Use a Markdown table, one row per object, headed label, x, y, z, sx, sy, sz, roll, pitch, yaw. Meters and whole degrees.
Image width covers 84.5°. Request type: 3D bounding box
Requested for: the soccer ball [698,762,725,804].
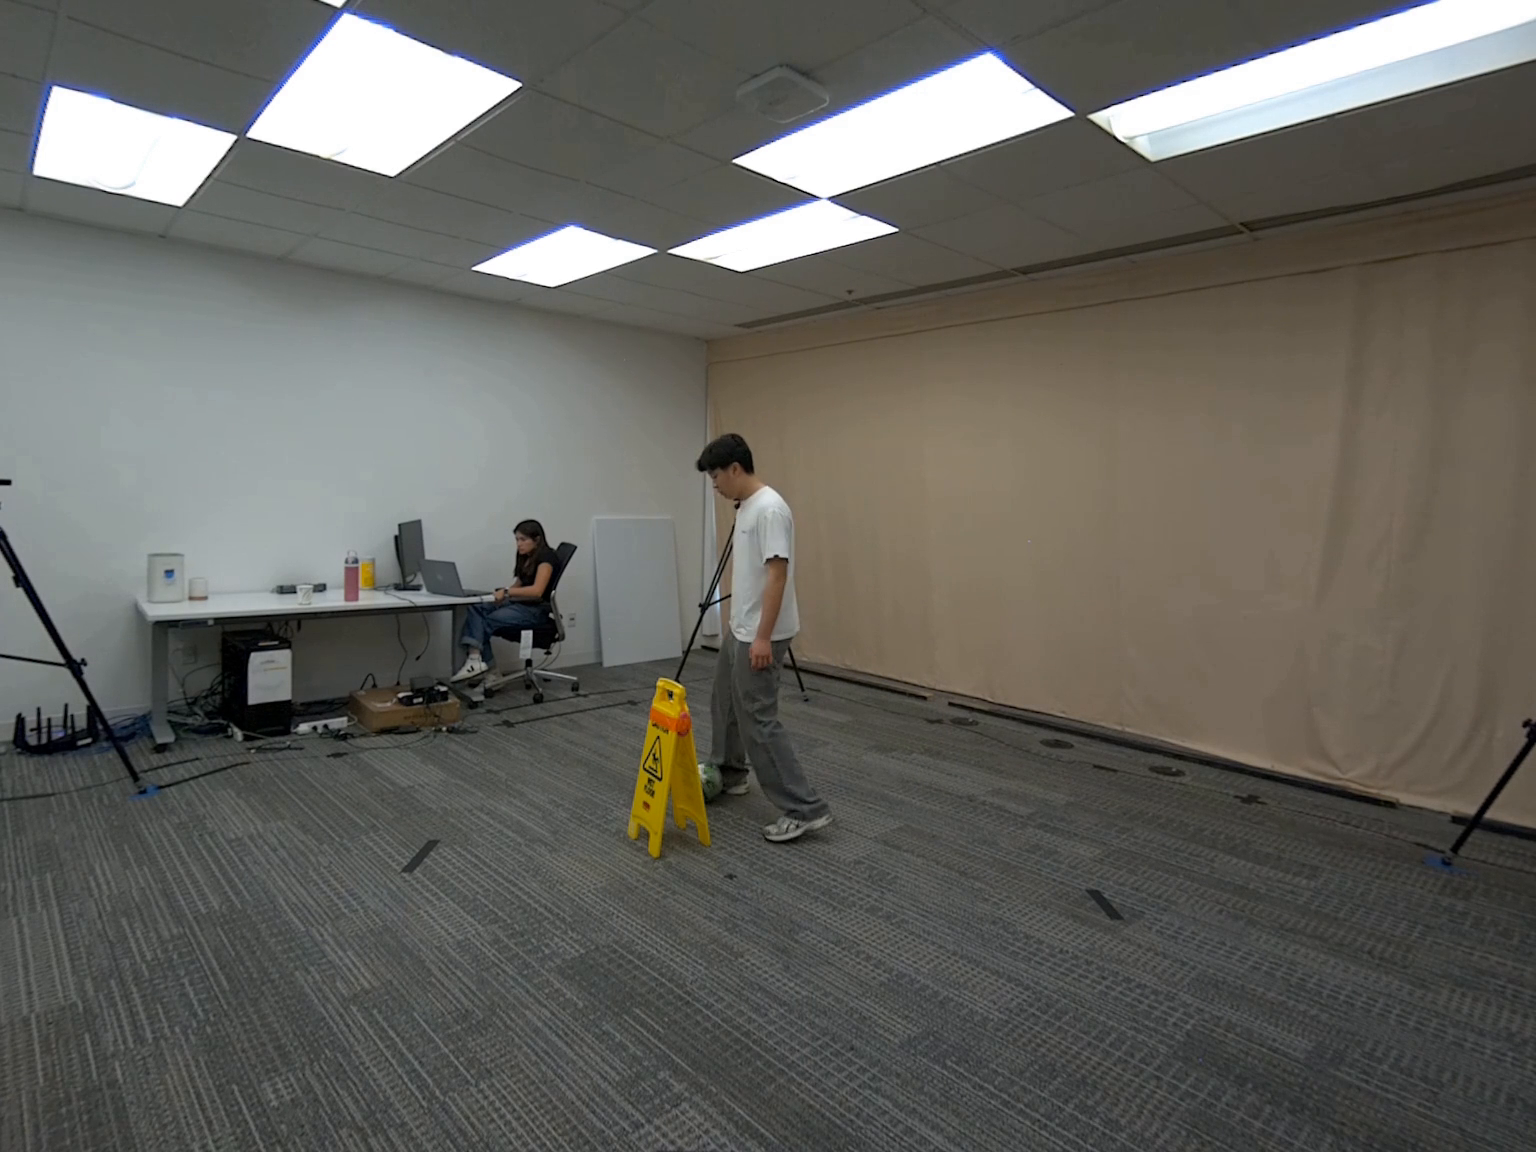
| label | x | y | z | sx | sy | sz | roll | pitch | yaw |
| --- | --- | --- | --- | --- | --- | --- | --- | --- | --- |
| soccer ball | -0.312 | 0.951 | 3.869 | 0.187 | 0.187 | 0.188 | 1 | 4 | -1 |
